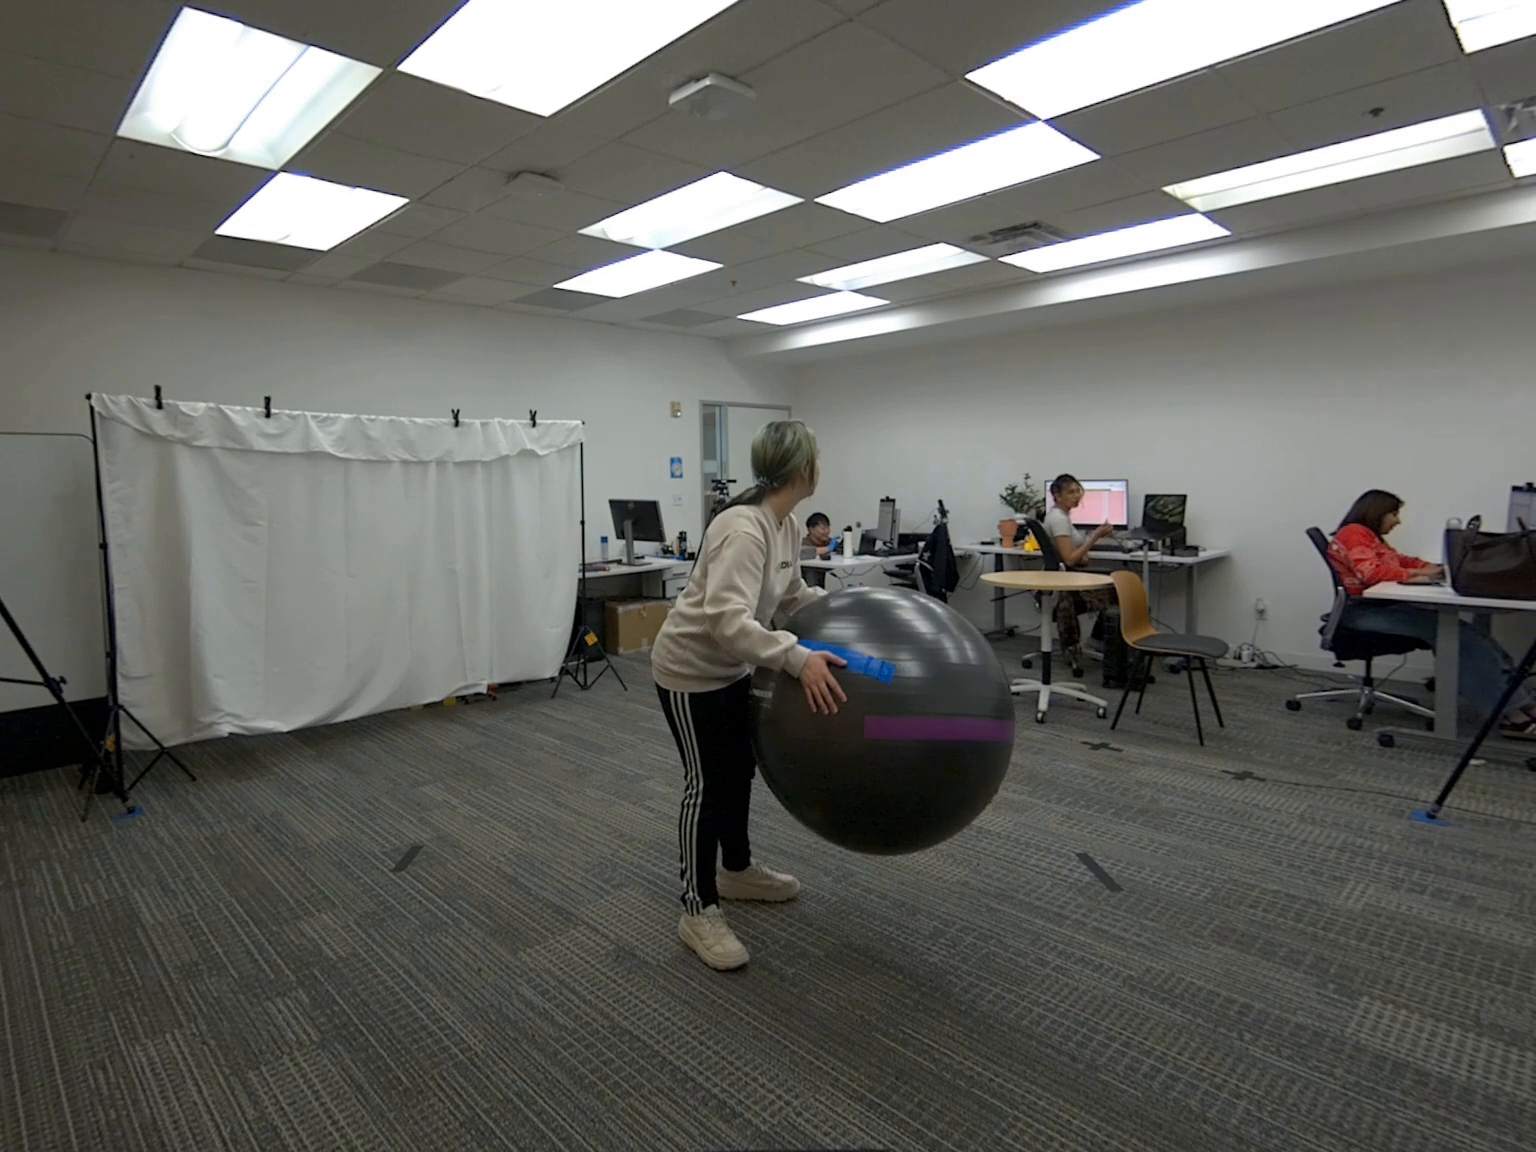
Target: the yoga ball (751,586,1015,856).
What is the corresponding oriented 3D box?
[{"bbox_3d":[0.321,0.415,2.472,0.757,0.755,0.762,-1,5,-2],"label":"yoga ball"}]
